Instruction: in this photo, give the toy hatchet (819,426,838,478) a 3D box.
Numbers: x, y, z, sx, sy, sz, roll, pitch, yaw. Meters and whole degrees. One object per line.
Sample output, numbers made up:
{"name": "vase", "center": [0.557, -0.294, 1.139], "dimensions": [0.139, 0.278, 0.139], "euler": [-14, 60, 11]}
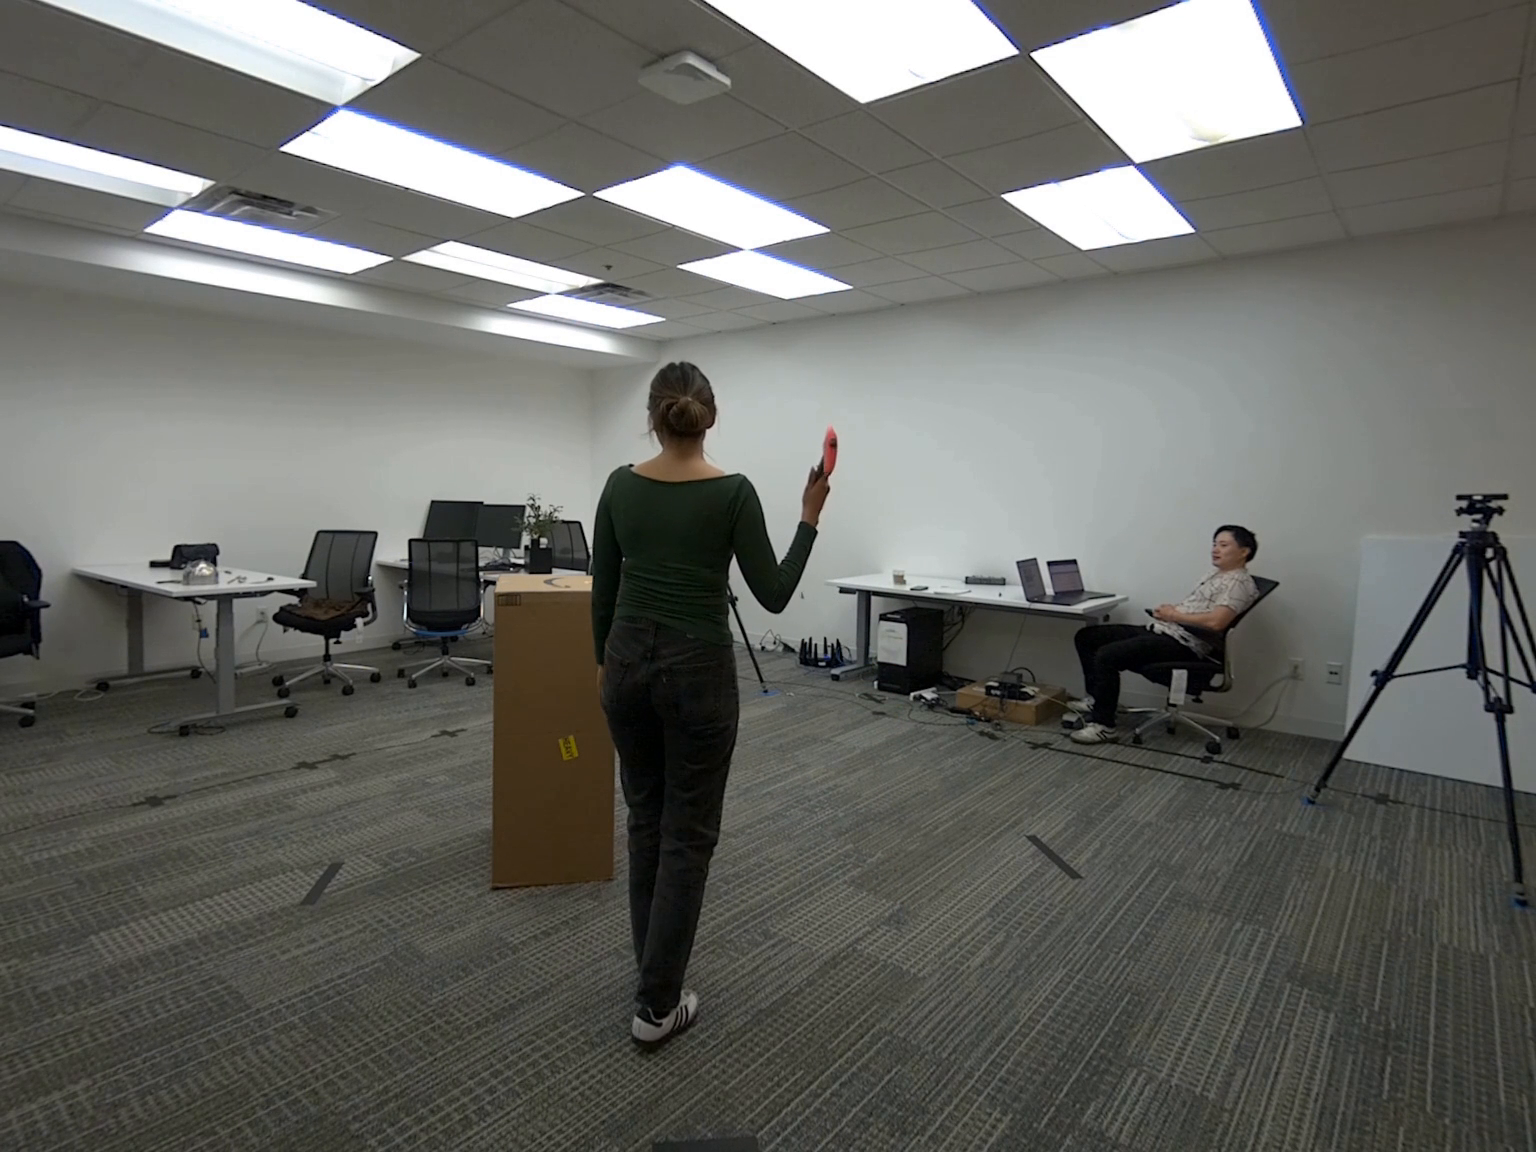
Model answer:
{"name": "toy hatchet", "center": [0.126, -0.243, 2.186], "dimensions": [0.029, 0.265, 0.135], "euler": [6, 40, -13]}
